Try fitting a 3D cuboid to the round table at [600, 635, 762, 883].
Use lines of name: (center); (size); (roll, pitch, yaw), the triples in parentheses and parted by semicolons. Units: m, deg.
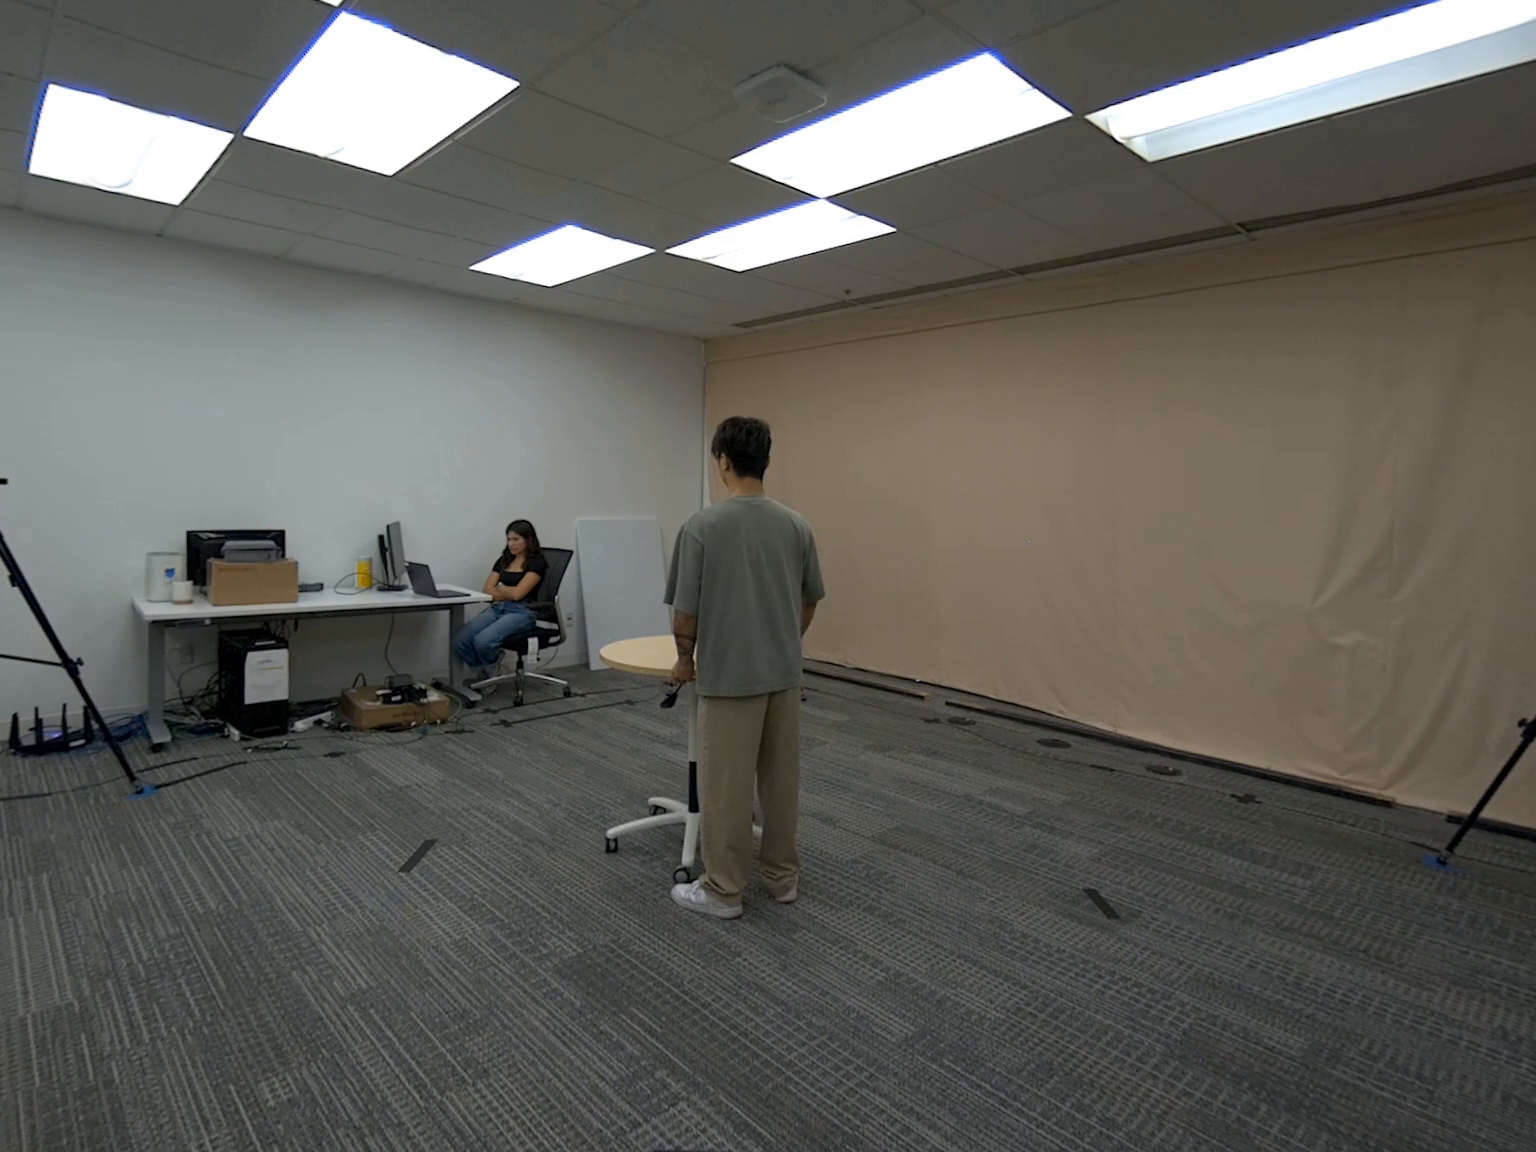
round table: (-0.282, 0.687, 3.363); (0.784, 0.784, 0.788); (1, 4, -1)
